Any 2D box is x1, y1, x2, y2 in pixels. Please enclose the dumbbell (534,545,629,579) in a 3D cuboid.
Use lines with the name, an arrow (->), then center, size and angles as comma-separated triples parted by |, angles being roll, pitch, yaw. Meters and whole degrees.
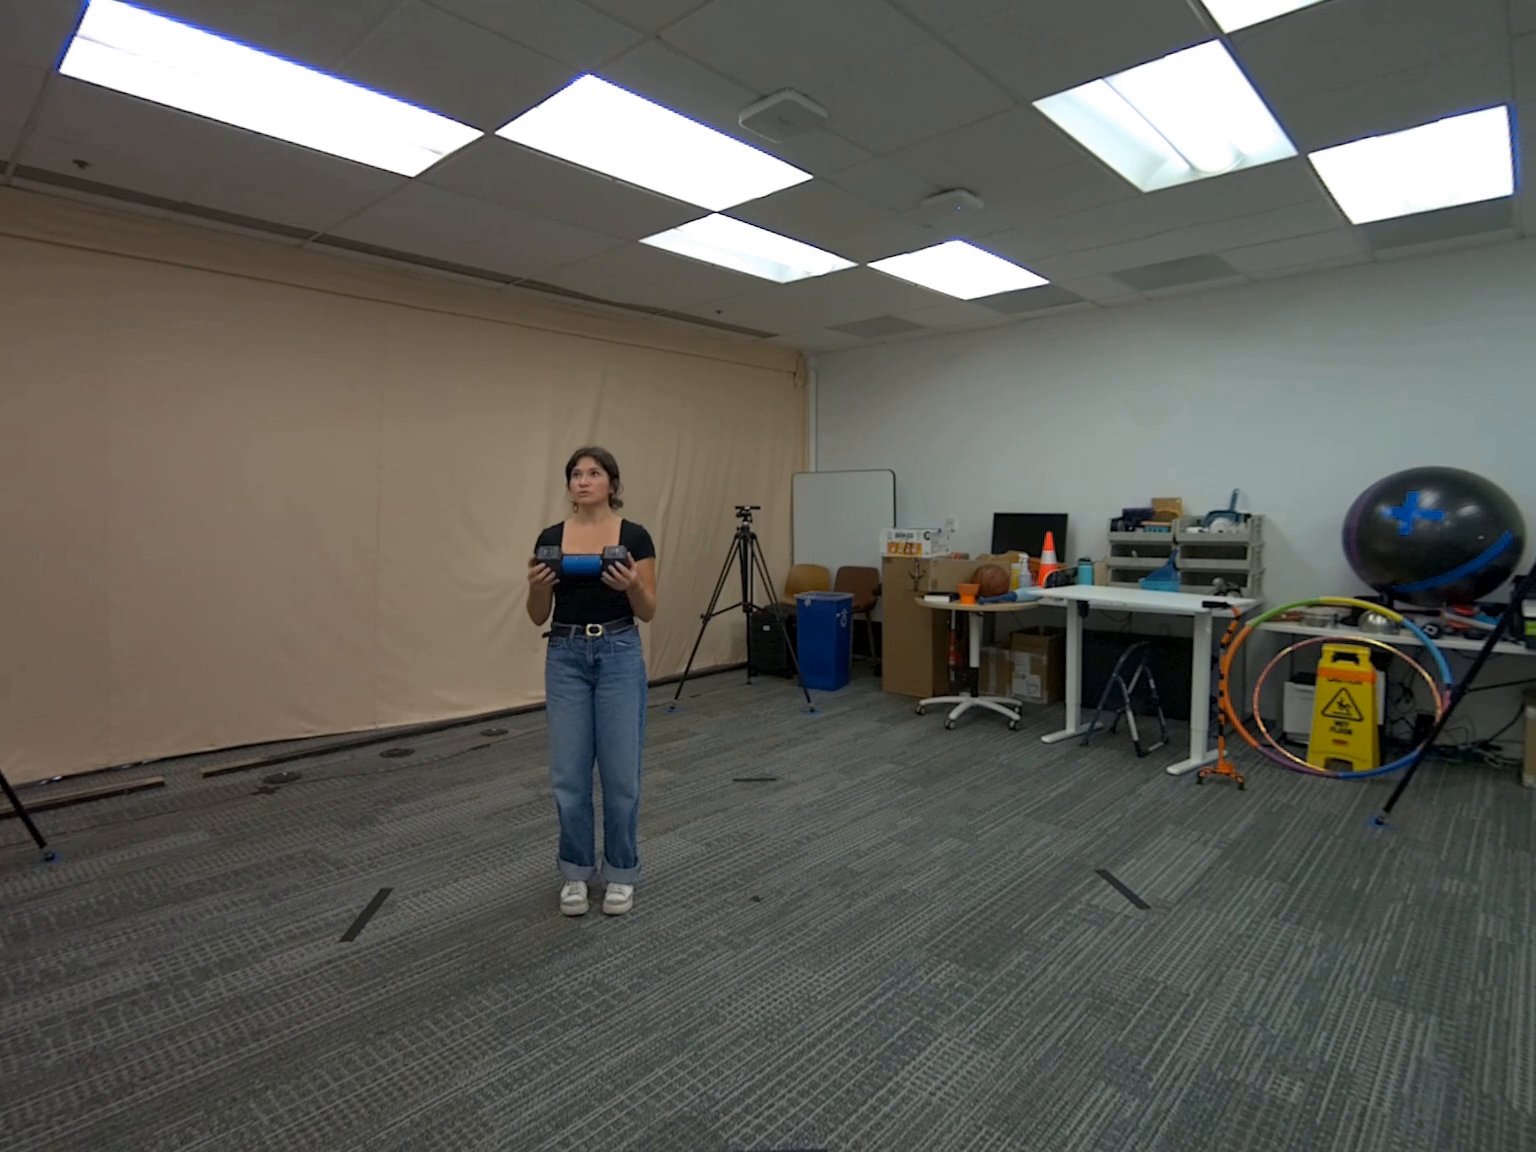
dumbbell -> -0.616, -0.025, 2.738 | 0.293, 0.121, 0.110 | -1, 18, -1
